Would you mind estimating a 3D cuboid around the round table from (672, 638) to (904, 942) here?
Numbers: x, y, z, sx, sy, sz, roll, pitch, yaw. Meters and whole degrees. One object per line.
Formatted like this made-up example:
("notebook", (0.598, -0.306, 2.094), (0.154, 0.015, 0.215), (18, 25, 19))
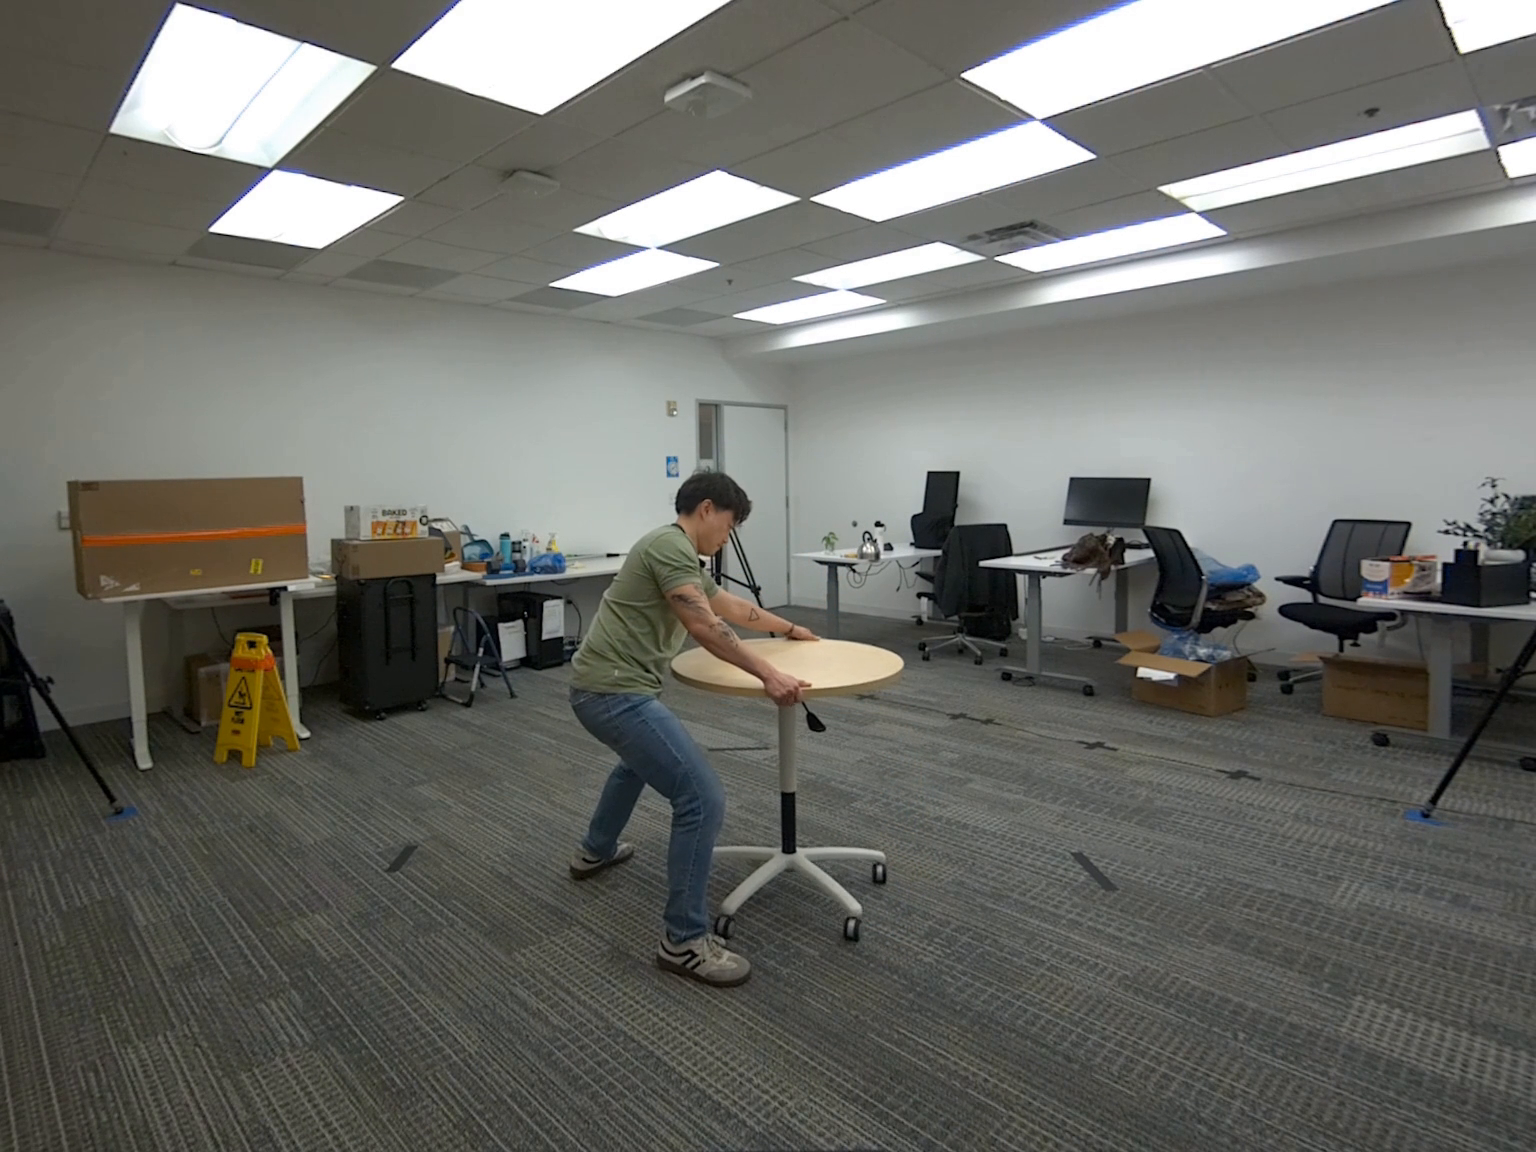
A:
("round table", (0.070, 0.677, 2.862), (0.763, 0.791, 0.768), (-1, 5, -2))
